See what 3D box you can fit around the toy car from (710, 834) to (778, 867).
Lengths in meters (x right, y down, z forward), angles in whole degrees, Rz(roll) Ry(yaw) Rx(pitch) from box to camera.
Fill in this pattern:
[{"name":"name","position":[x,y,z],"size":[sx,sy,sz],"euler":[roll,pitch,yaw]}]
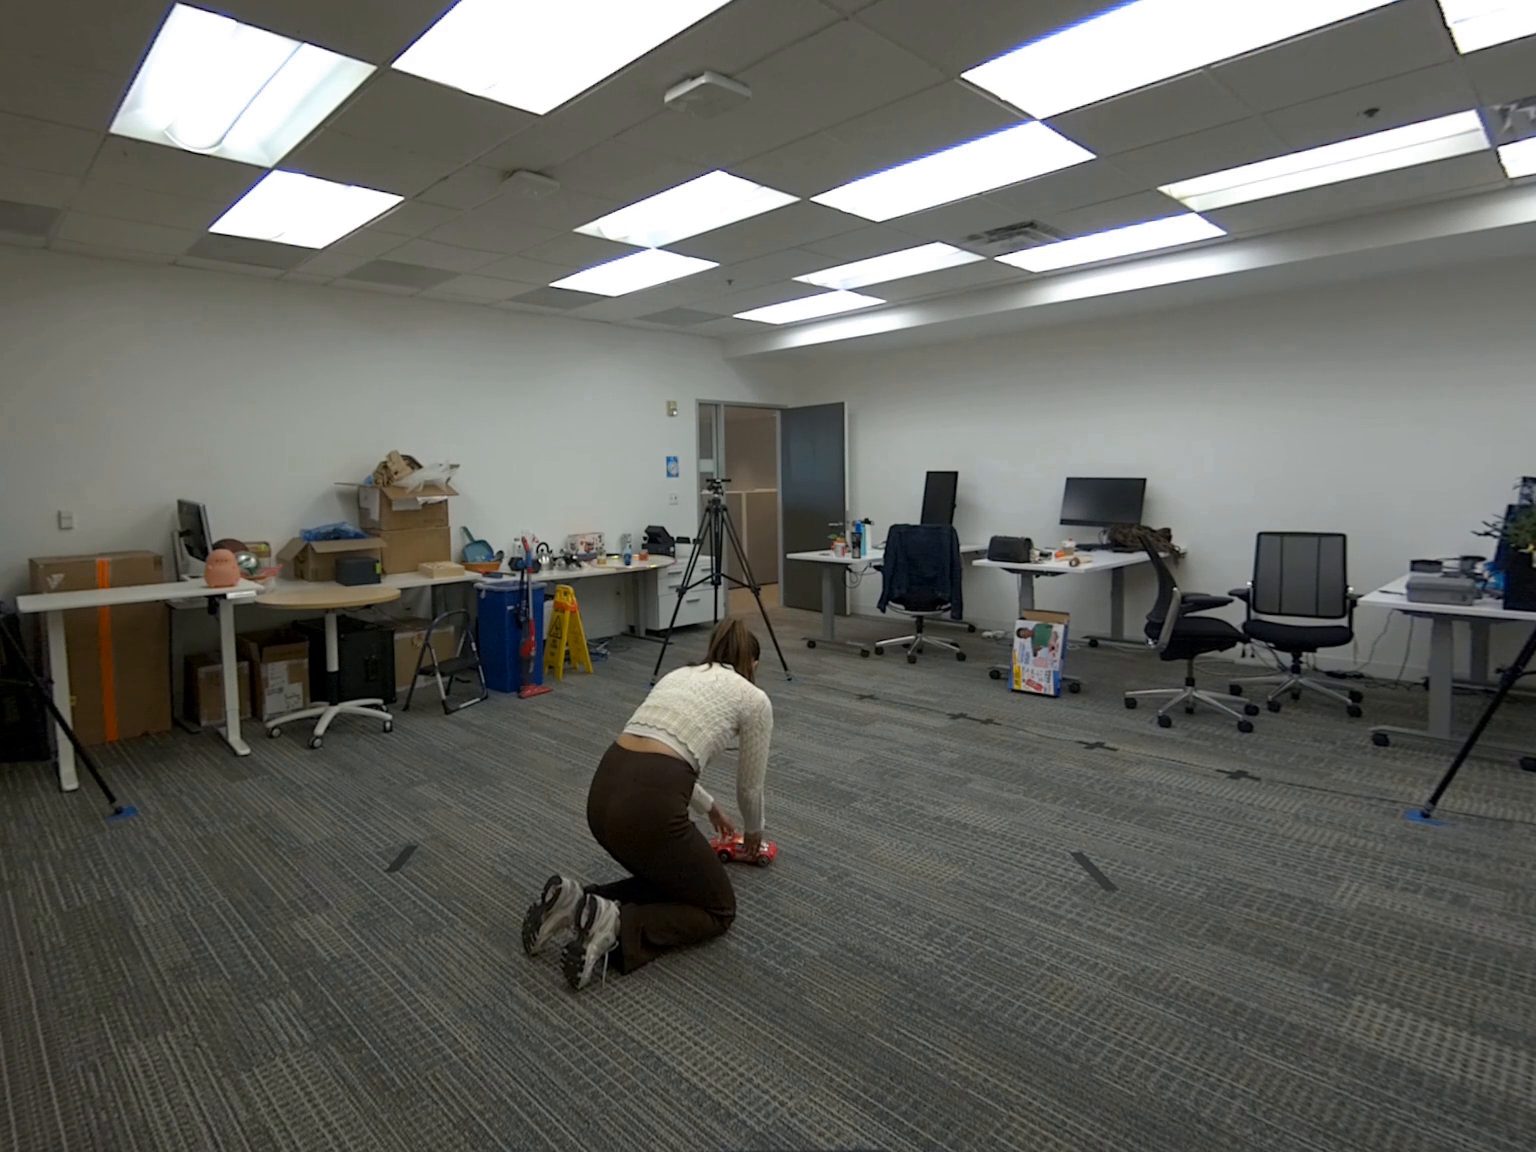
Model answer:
[{"name":"toy car","position":[-0.099,1.011,3.151],"size":[0.258,0.083,0.129],"euler":[11,7,12]}]
